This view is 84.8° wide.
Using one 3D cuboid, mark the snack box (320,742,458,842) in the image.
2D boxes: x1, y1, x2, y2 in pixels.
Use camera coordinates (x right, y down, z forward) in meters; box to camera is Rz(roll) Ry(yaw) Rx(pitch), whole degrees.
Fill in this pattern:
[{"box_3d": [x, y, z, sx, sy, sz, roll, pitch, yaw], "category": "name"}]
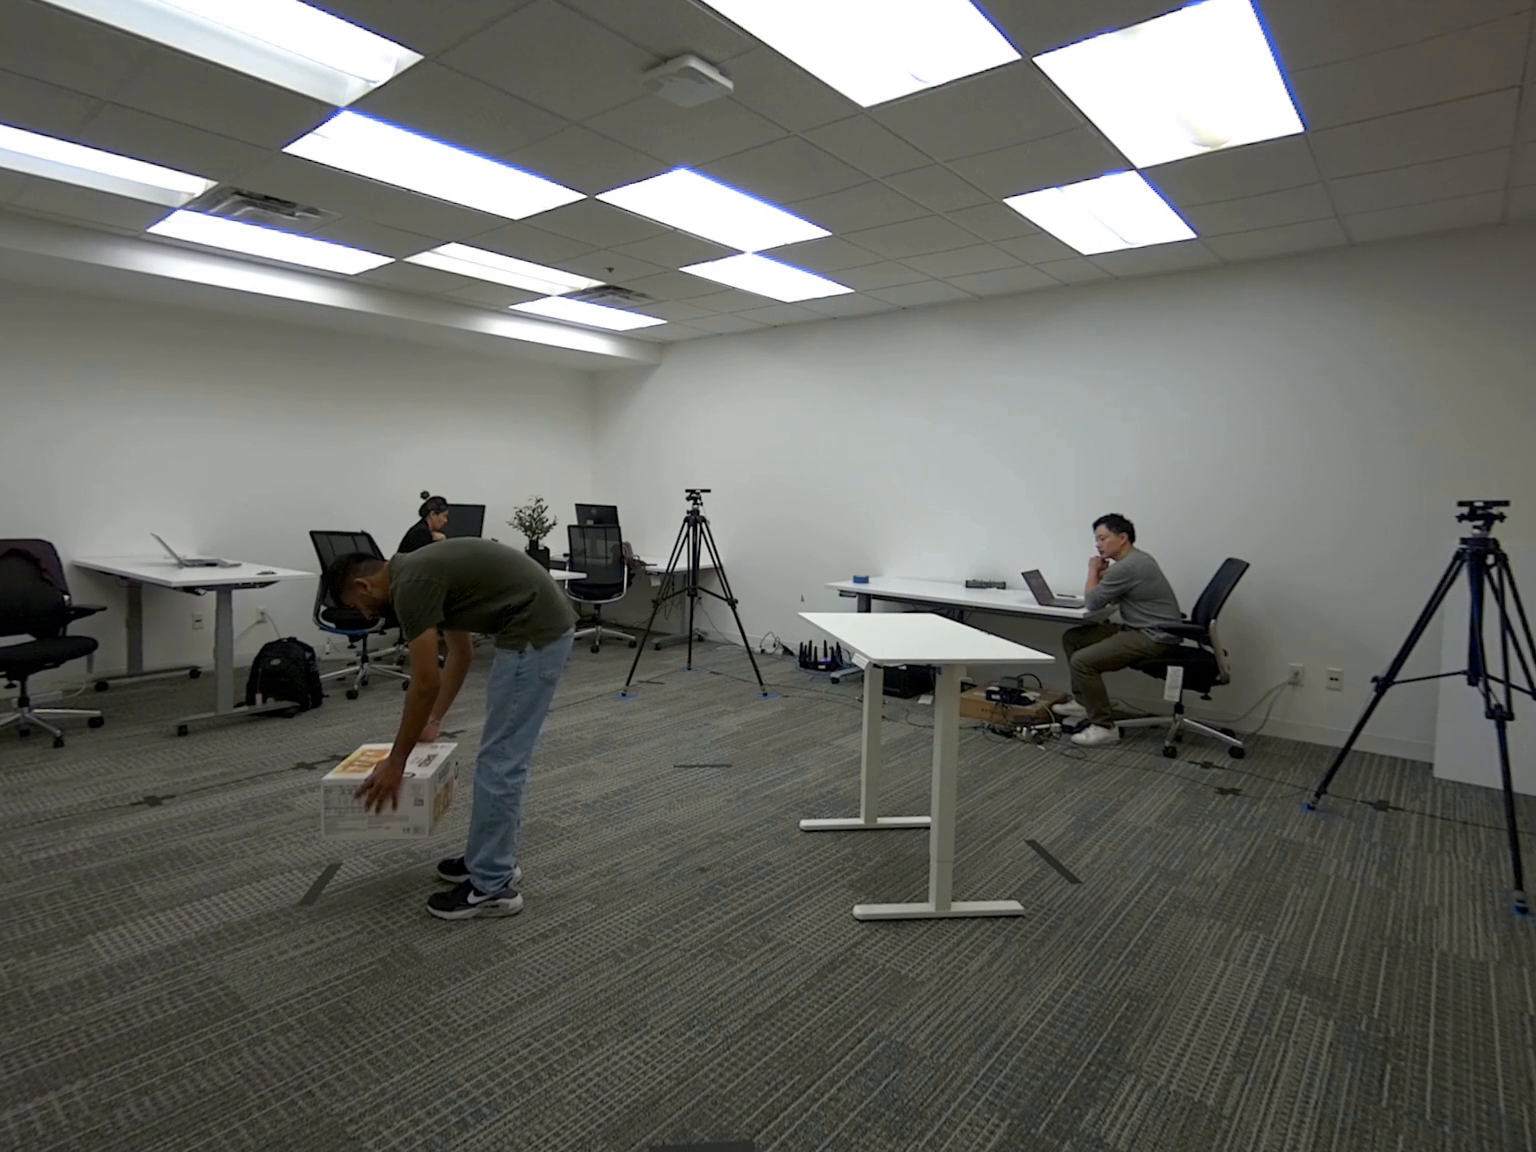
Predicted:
[{"box_3d": [-1.293, 0.725, 2.911, 0.338, 0.205, 0.409, 0, 4, -6], "category": "snack box"}]
